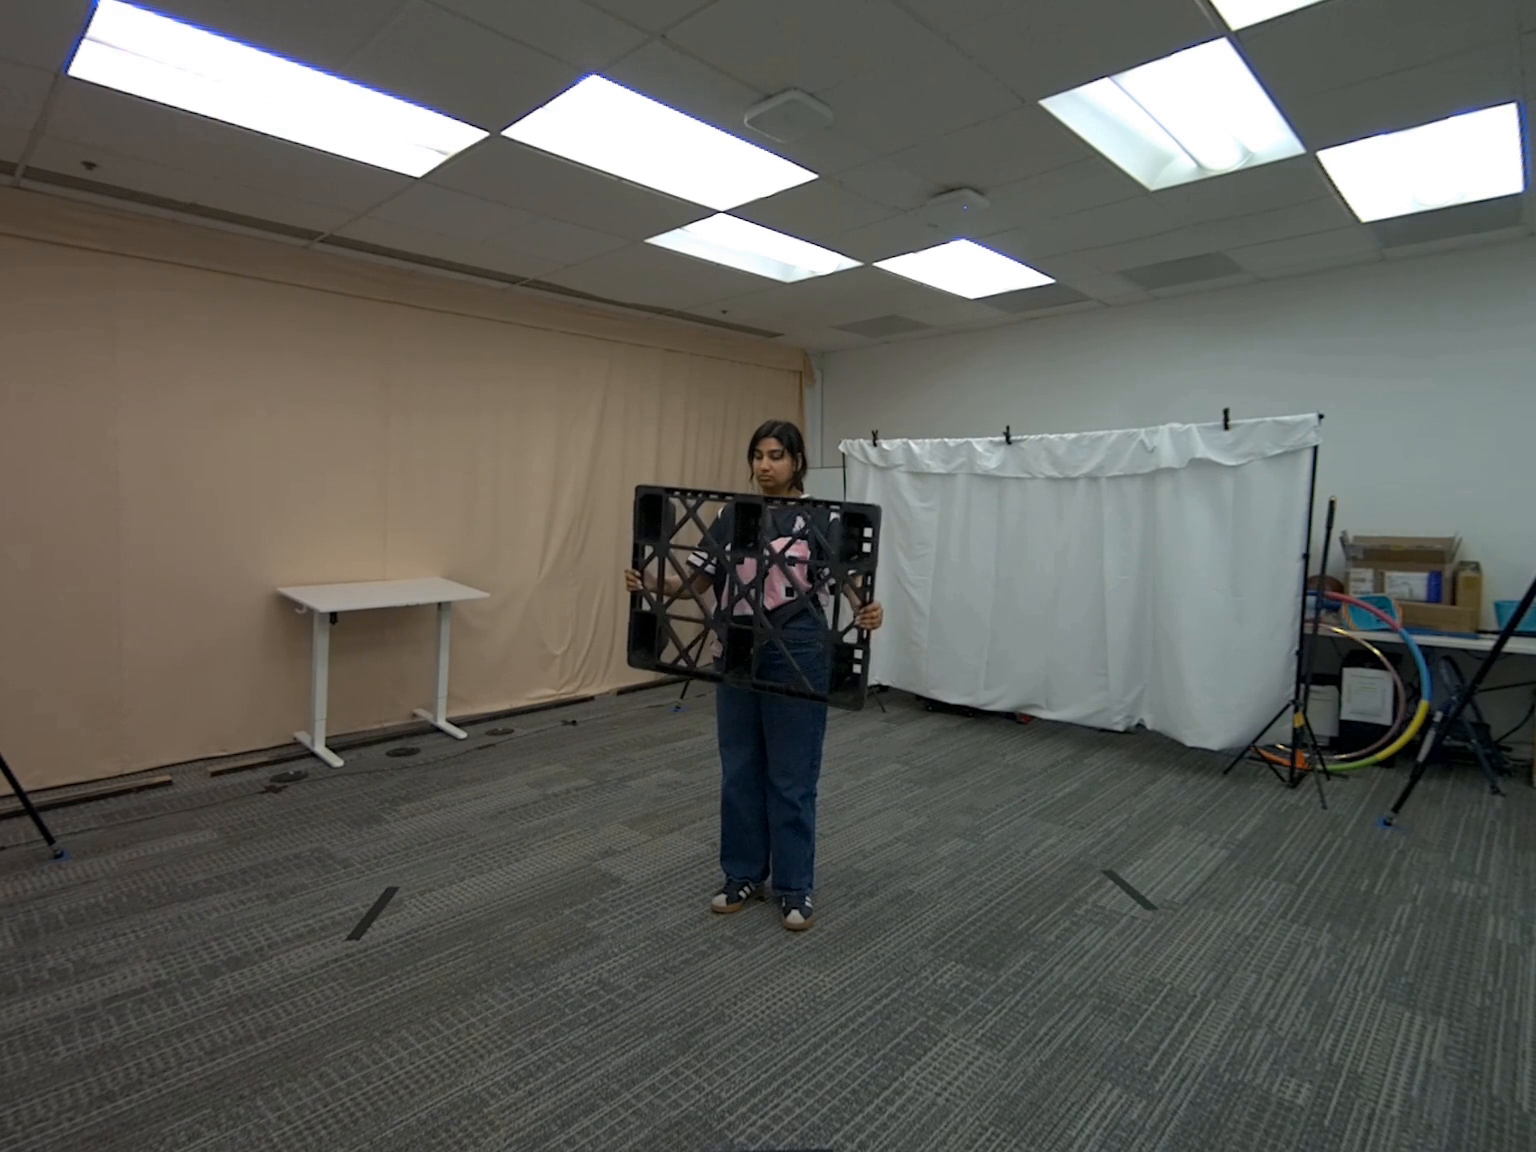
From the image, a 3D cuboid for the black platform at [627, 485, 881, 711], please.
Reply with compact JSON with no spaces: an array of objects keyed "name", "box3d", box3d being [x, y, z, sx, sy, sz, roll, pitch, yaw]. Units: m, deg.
[{"name":"black platform","box3d":[-0.058,0.043,2.613,0.826,0.603,0.140,7,6,24]}]
